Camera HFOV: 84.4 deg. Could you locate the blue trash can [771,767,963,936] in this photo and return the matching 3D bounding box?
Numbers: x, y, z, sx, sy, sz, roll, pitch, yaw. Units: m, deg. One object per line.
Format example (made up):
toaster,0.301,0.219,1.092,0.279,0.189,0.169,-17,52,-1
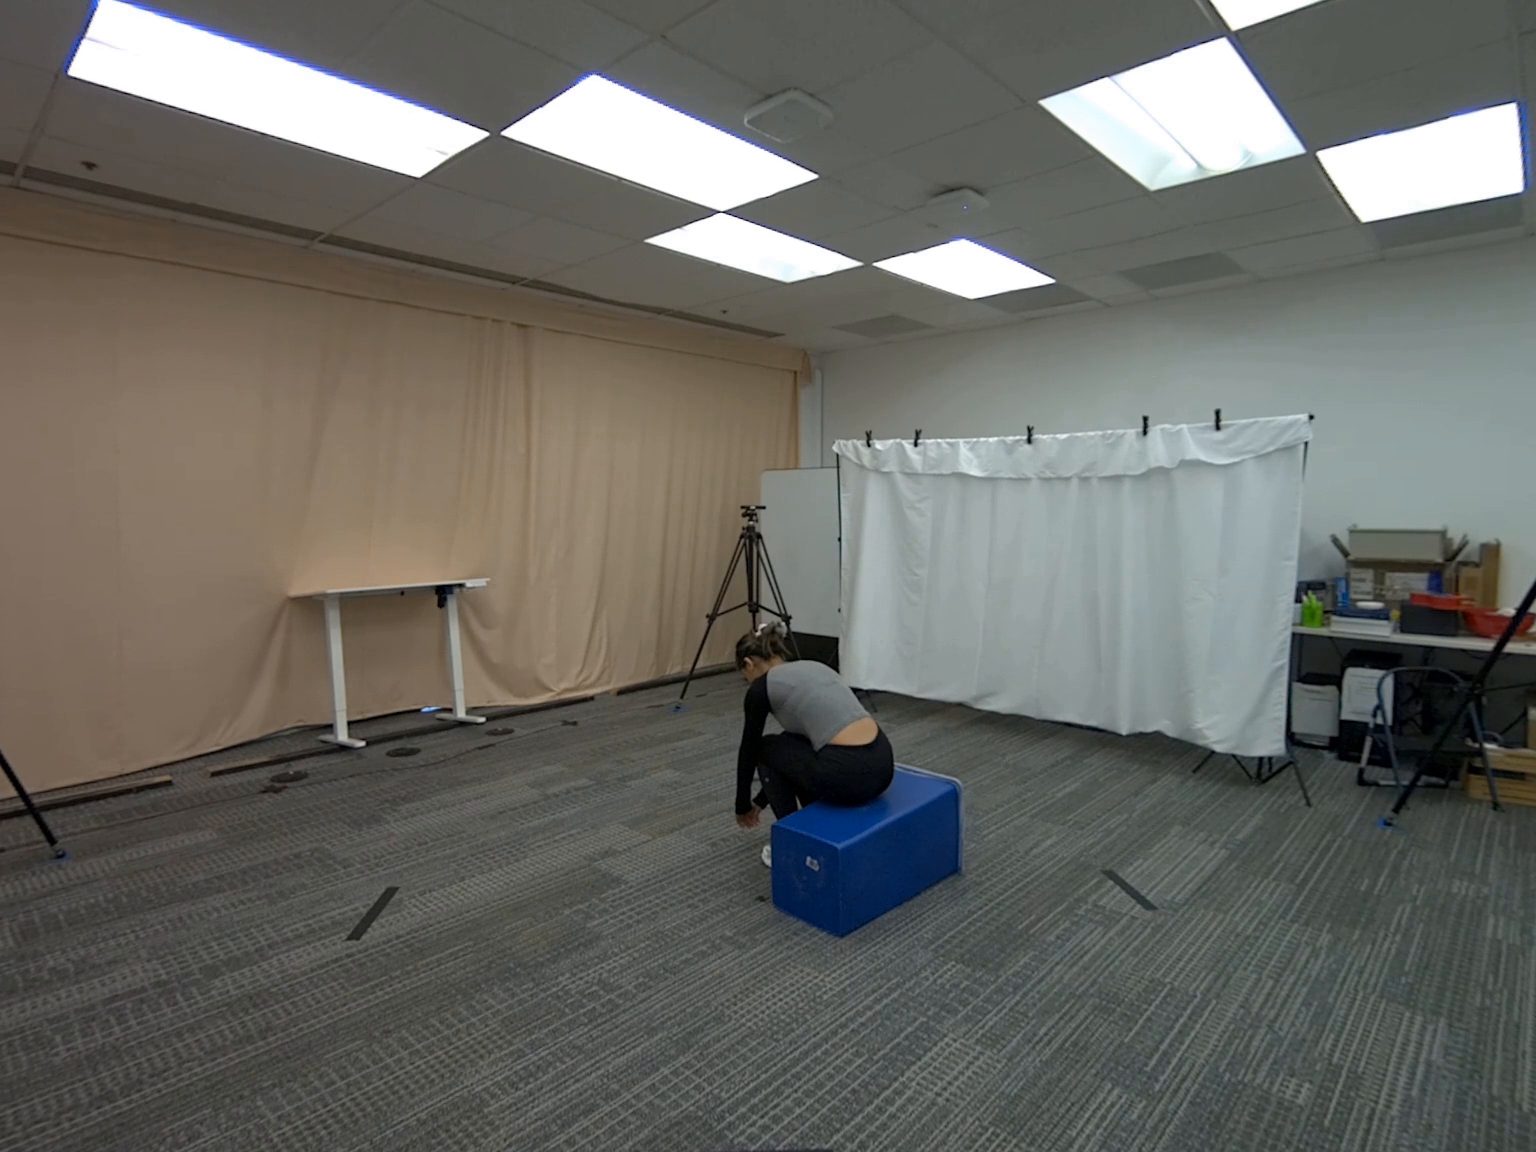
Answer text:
blue trash can,0.372,0.962,3.039,0.391,0.373,0.692,4,8,43
